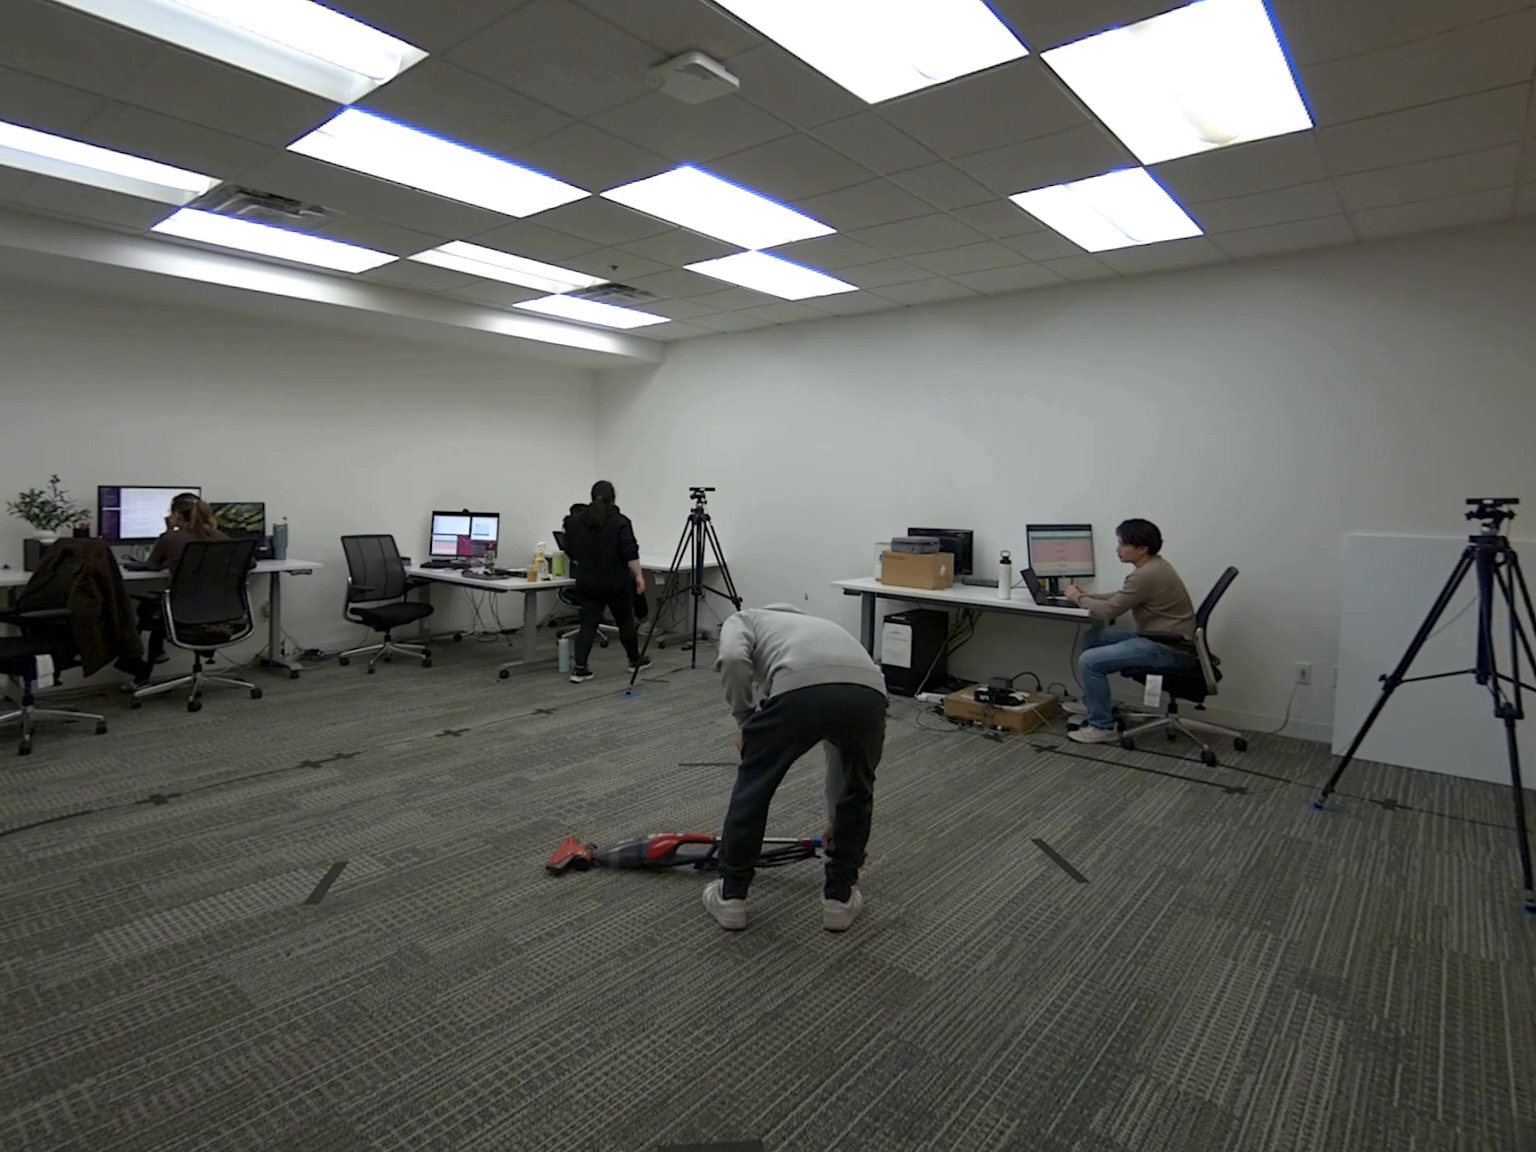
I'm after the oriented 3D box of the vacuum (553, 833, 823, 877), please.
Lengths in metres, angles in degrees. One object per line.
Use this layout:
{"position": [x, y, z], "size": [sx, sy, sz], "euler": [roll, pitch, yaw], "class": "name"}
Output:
{"position": [-0.202, 0.993, 3.064], "size": [1.057, 0.144, 0.250], "euler": [-3, -1, 7], "class": "vacuum"}
